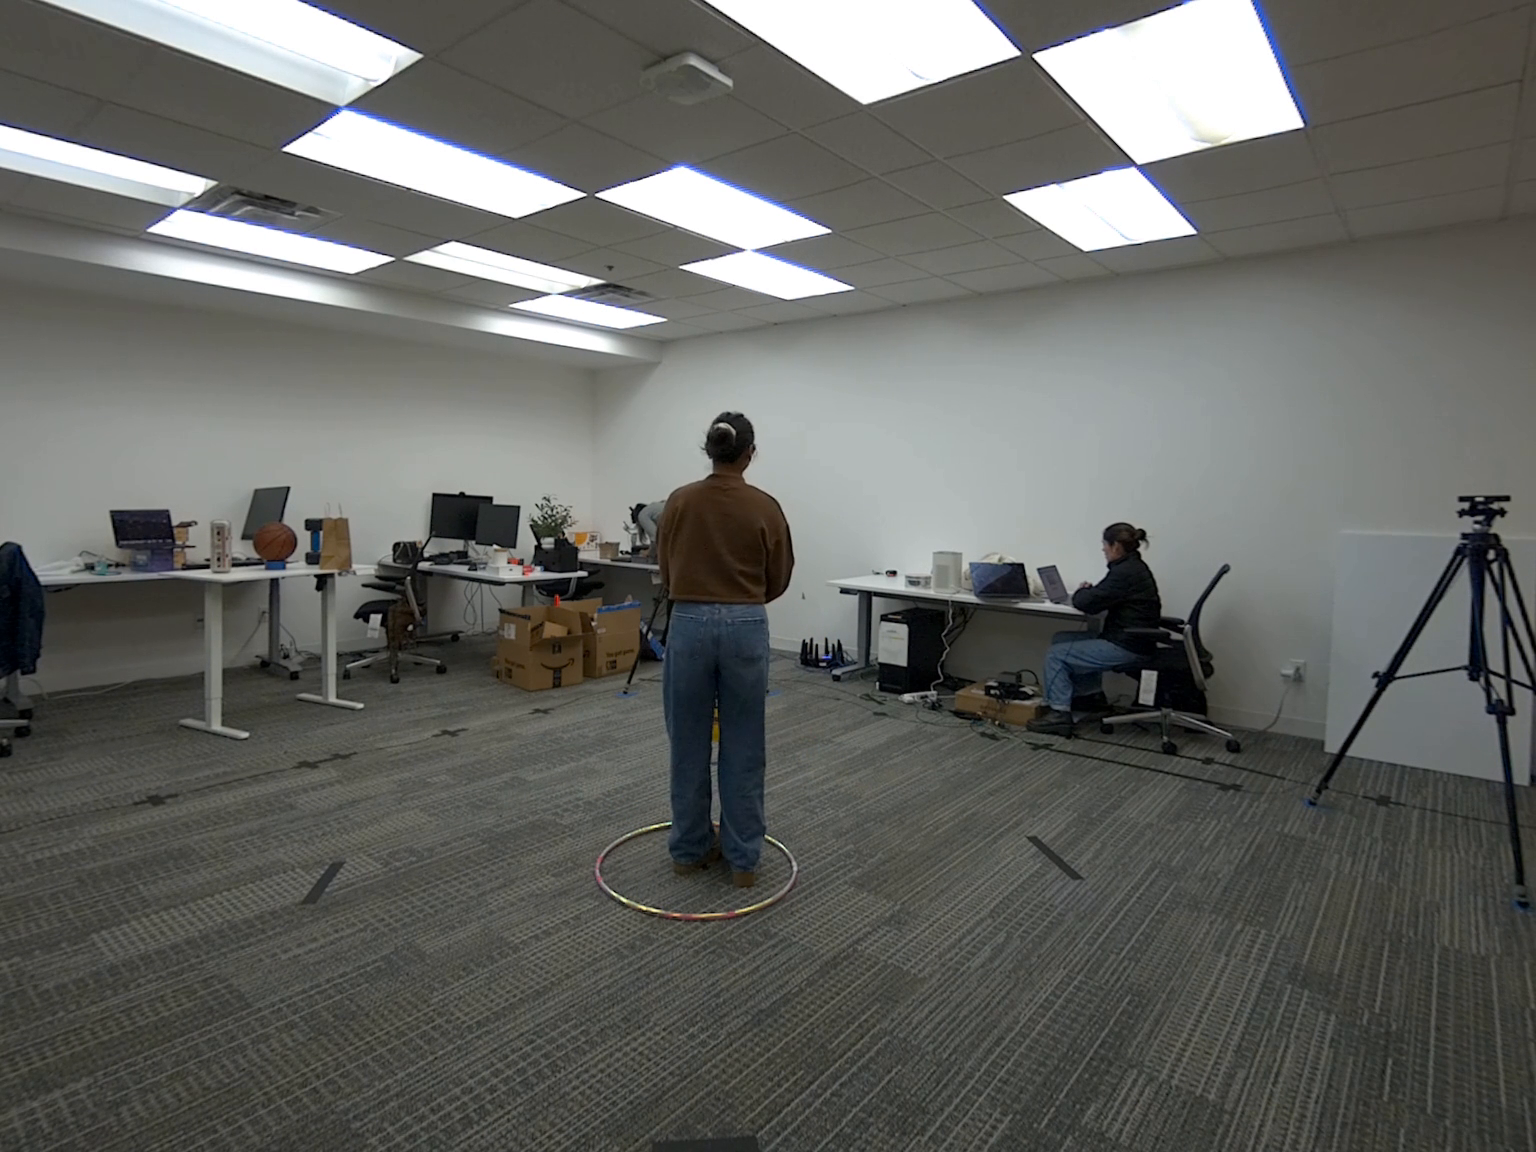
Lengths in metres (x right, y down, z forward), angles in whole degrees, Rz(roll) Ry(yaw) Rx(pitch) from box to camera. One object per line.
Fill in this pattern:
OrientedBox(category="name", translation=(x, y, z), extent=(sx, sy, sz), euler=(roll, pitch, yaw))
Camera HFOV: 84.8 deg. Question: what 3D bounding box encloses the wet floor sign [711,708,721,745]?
OrientedBox(category="wet floor sign", translation=(-0.183, 0.382, 3.412), extent=(0.284, 0.640, 0.291), euler=(4, 11, 4))
